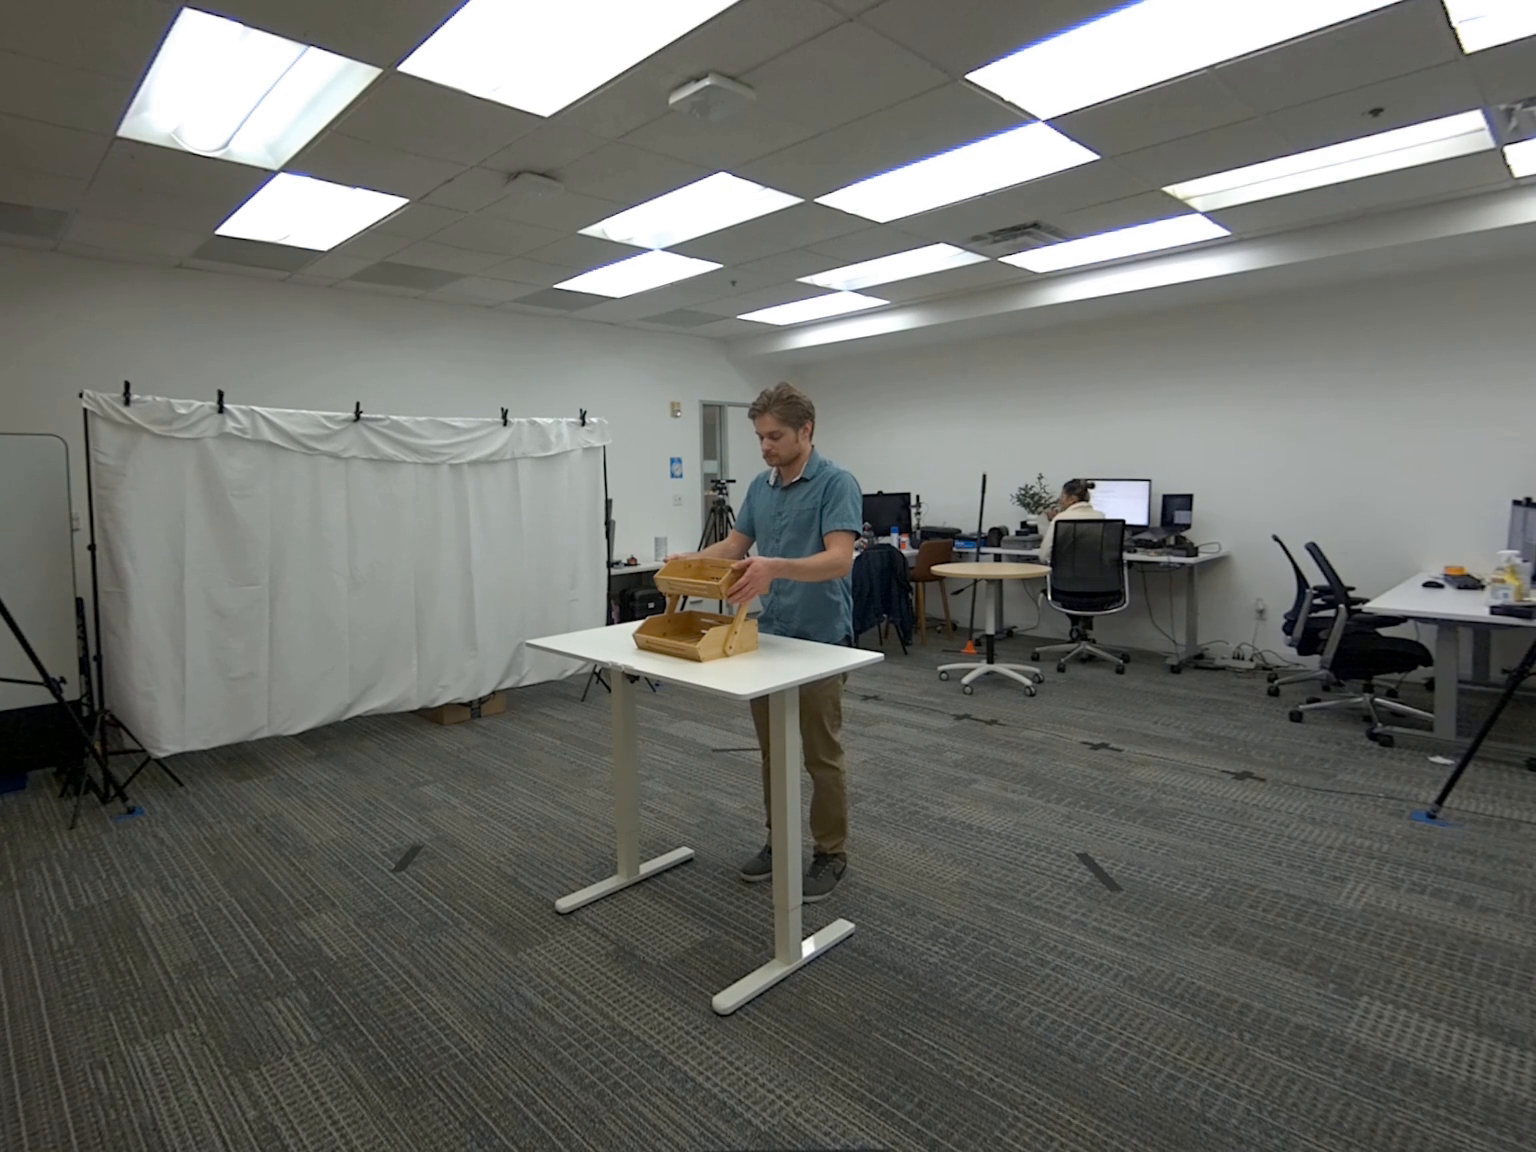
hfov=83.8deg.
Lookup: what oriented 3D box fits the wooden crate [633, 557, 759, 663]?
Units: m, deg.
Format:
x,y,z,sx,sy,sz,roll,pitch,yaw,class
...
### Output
x,y,z,sx,sy,sz,roll,pitch,yaw,class
-0.205,0.092,2.623,0.294,0.272,0.335,-5,8,-44,wooden crate
